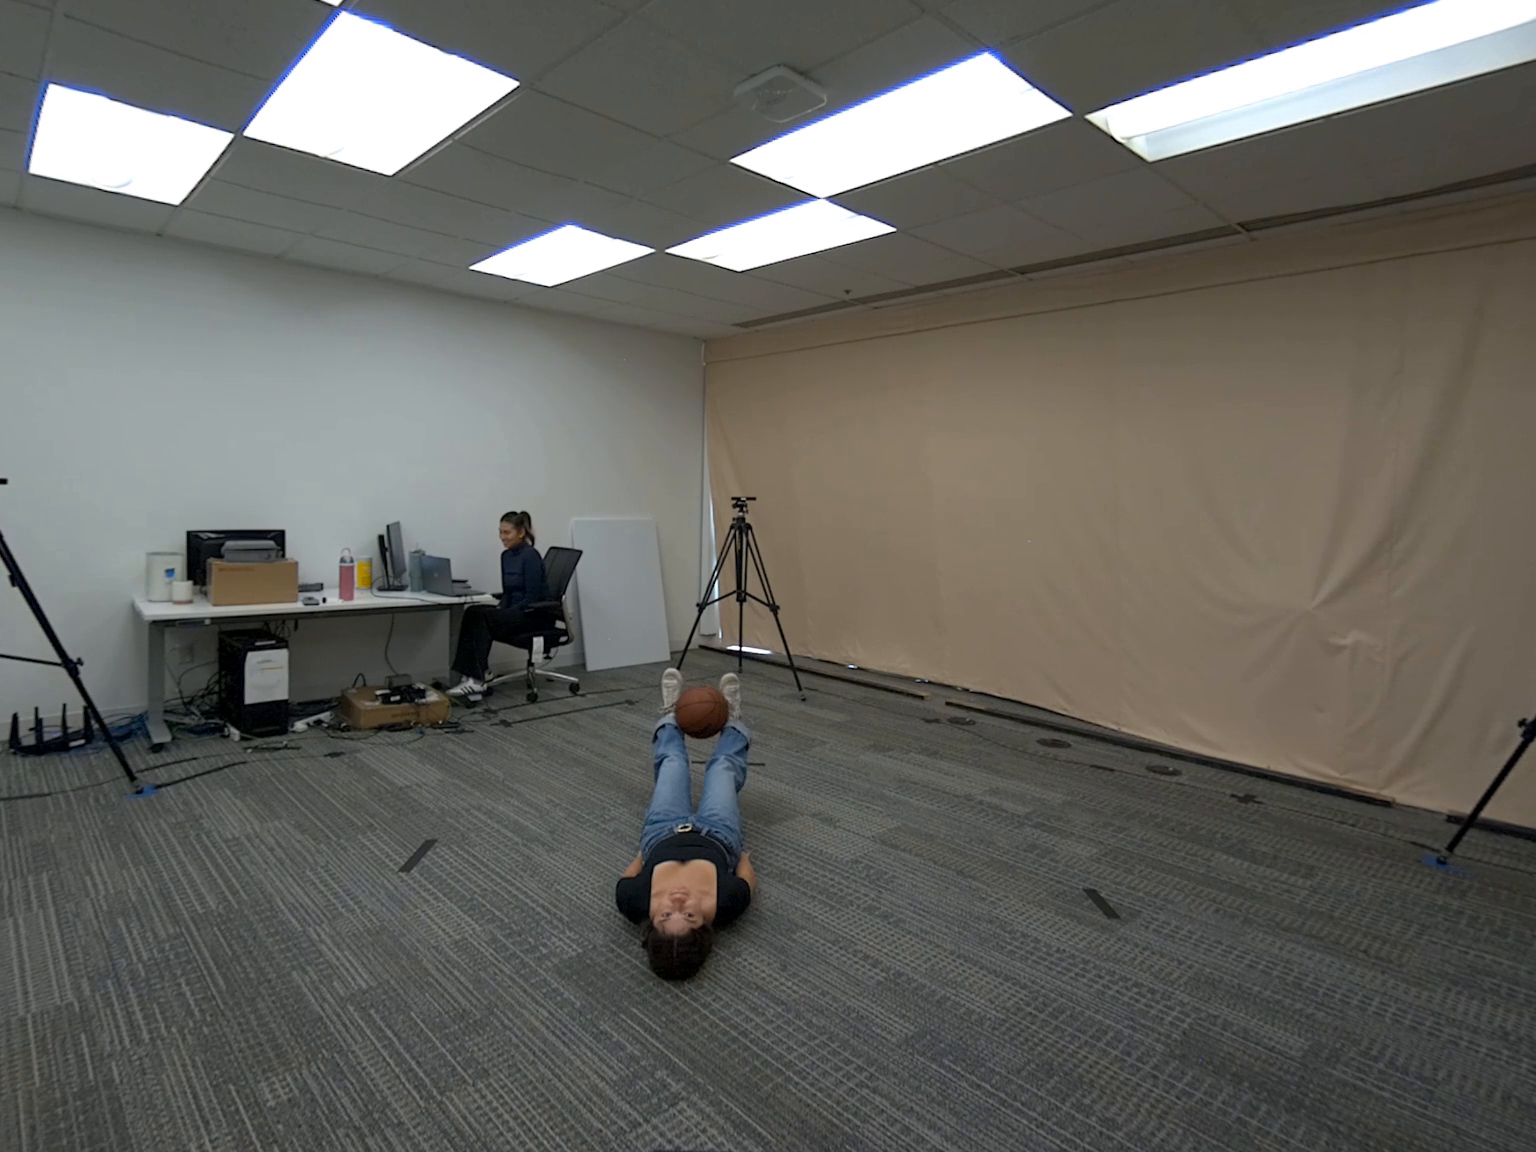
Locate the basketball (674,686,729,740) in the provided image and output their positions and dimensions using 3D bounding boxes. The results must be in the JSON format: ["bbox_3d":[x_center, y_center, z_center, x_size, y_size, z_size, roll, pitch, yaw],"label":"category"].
[{"bbox_3d":[-0.310,0.609,3.778,0.236,0.235,0.237,1,4,-1],"label":"basketball"}]
